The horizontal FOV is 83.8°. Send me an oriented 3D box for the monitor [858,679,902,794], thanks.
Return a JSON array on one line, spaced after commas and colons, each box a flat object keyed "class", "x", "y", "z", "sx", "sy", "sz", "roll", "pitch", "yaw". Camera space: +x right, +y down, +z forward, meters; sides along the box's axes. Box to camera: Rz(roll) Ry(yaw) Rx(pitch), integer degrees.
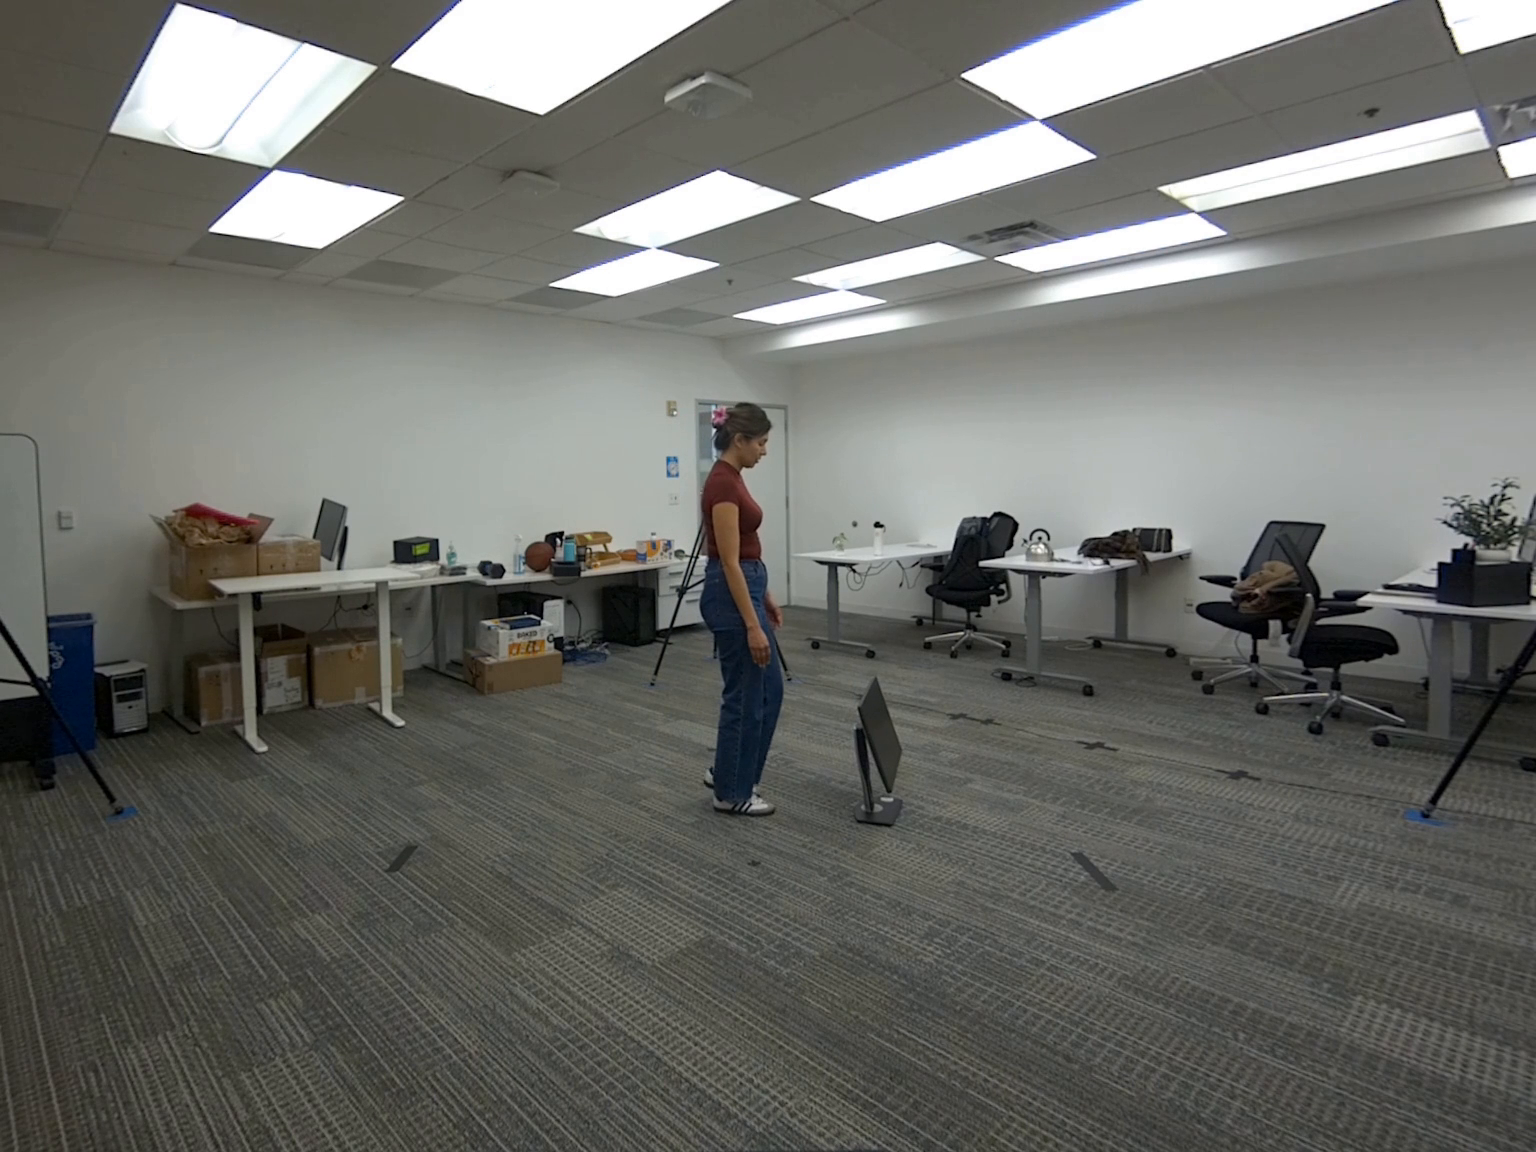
[{"class": "monitor", "x": 0.438, "y": 0.729, "z": 3.542, "sx": 0.189, "sy": 0.521, "sz": 0.534, "roll": -3, "pitch": 4, "yaw": 13}]
